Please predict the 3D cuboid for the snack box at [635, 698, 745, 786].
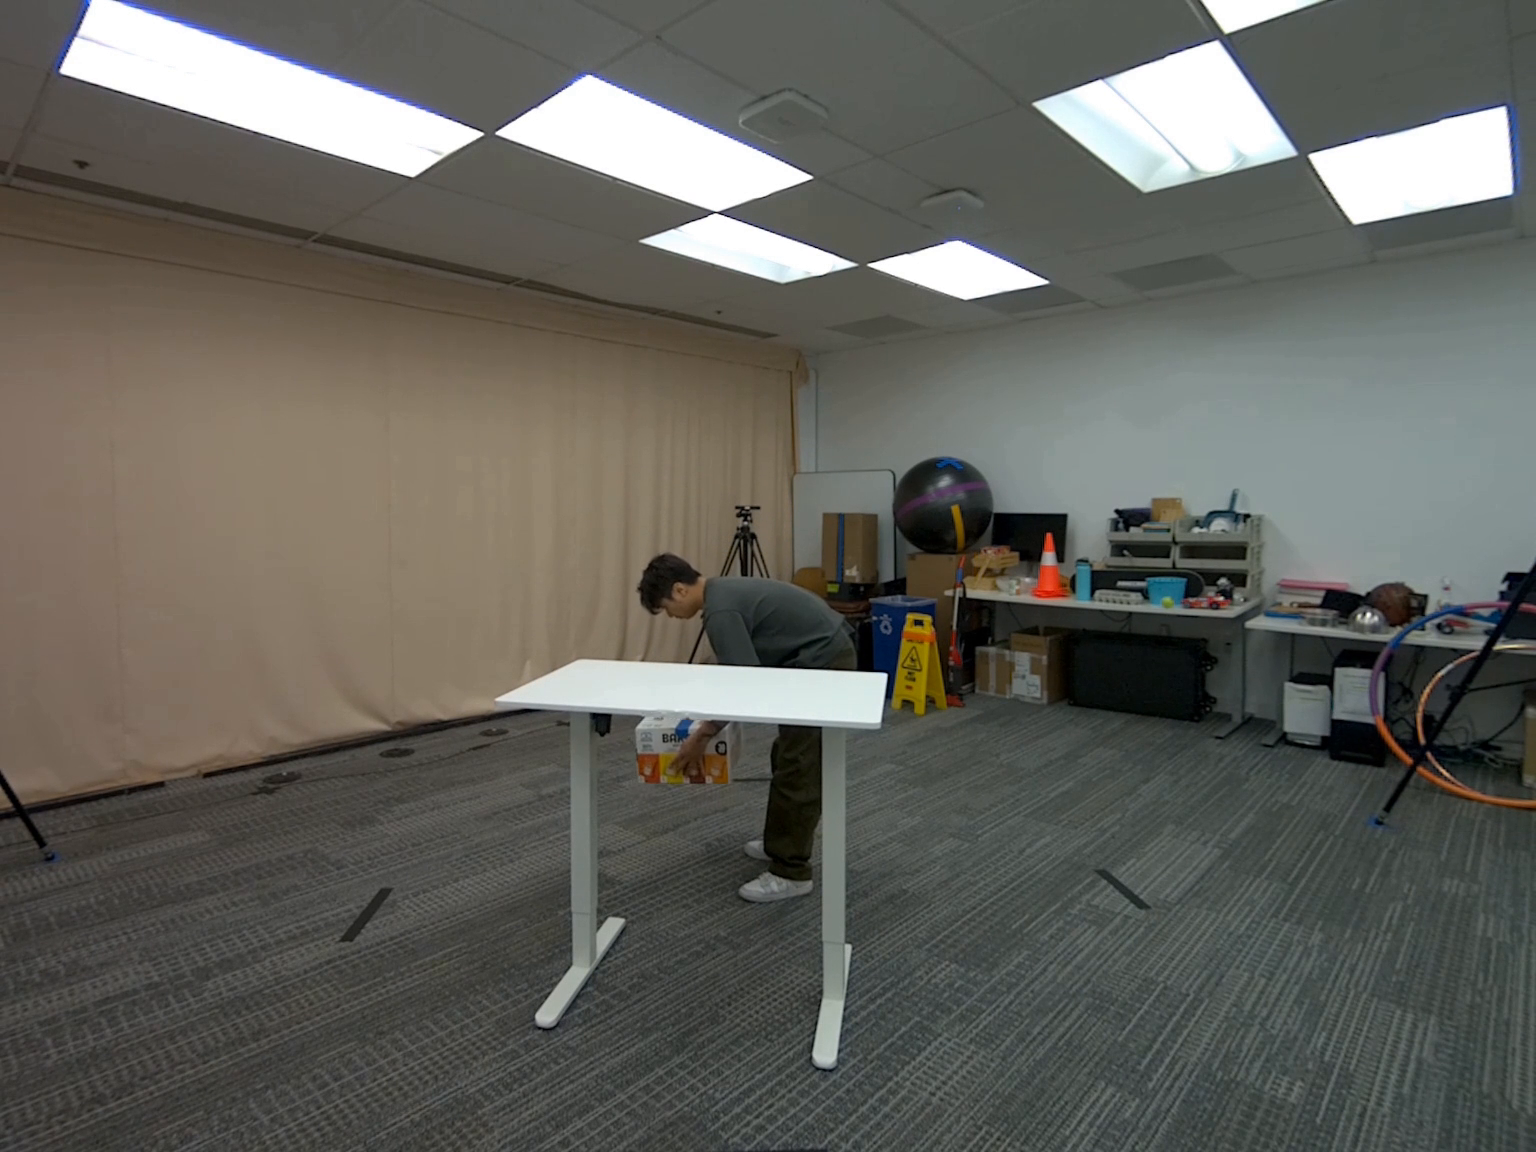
[{"bbox_3d":[-0.288,0.621,3.232,0.343,0.205,0.403,-1,6,7],"label":"snack box"}]
